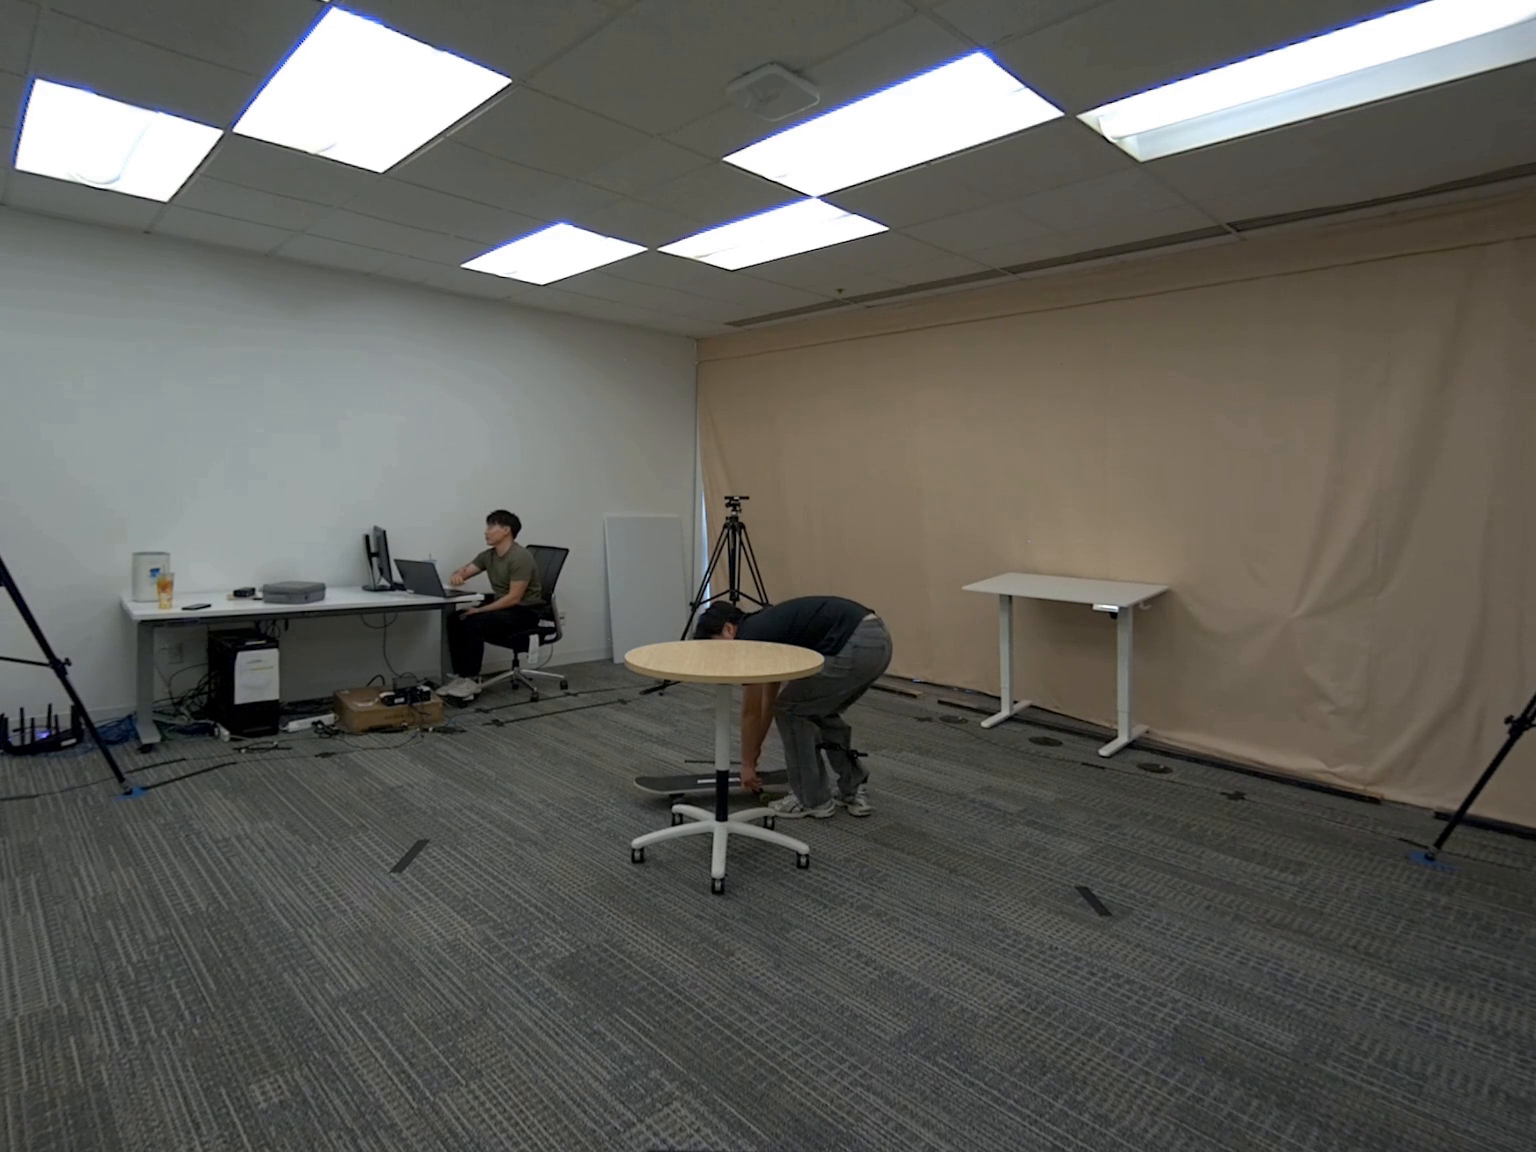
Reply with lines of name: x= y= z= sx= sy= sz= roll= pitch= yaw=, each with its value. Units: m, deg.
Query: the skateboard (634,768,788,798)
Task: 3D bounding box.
skateboard: x=-0.234 y=0.970 z=3.884 sx=0.777 sy=0.110 sz=0.196 roll=0 pitch=6 yaw=-14
